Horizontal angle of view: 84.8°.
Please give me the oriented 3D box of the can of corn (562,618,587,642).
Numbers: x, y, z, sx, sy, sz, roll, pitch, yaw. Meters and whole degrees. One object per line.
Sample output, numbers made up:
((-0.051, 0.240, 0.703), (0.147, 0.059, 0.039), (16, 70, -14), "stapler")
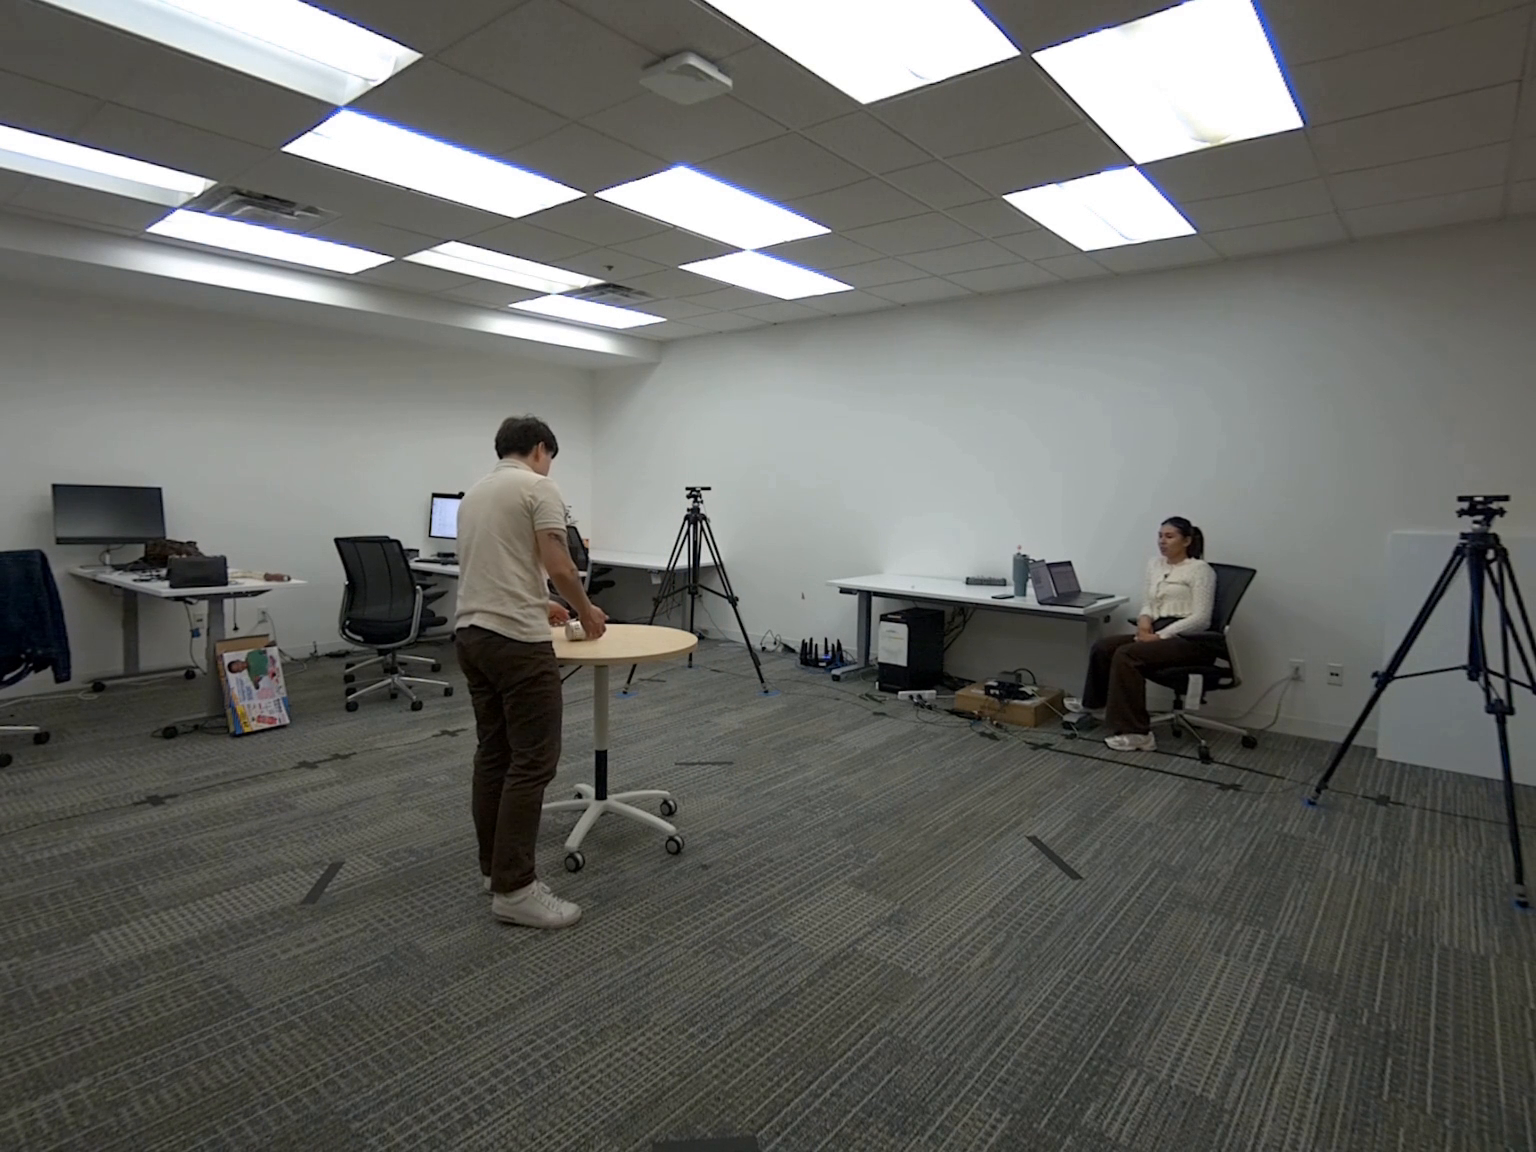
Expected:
((-0.748, 0.211, 3.350), (0.109, 0.074, 0.076), (-2, 5, -21), "can of corn")
